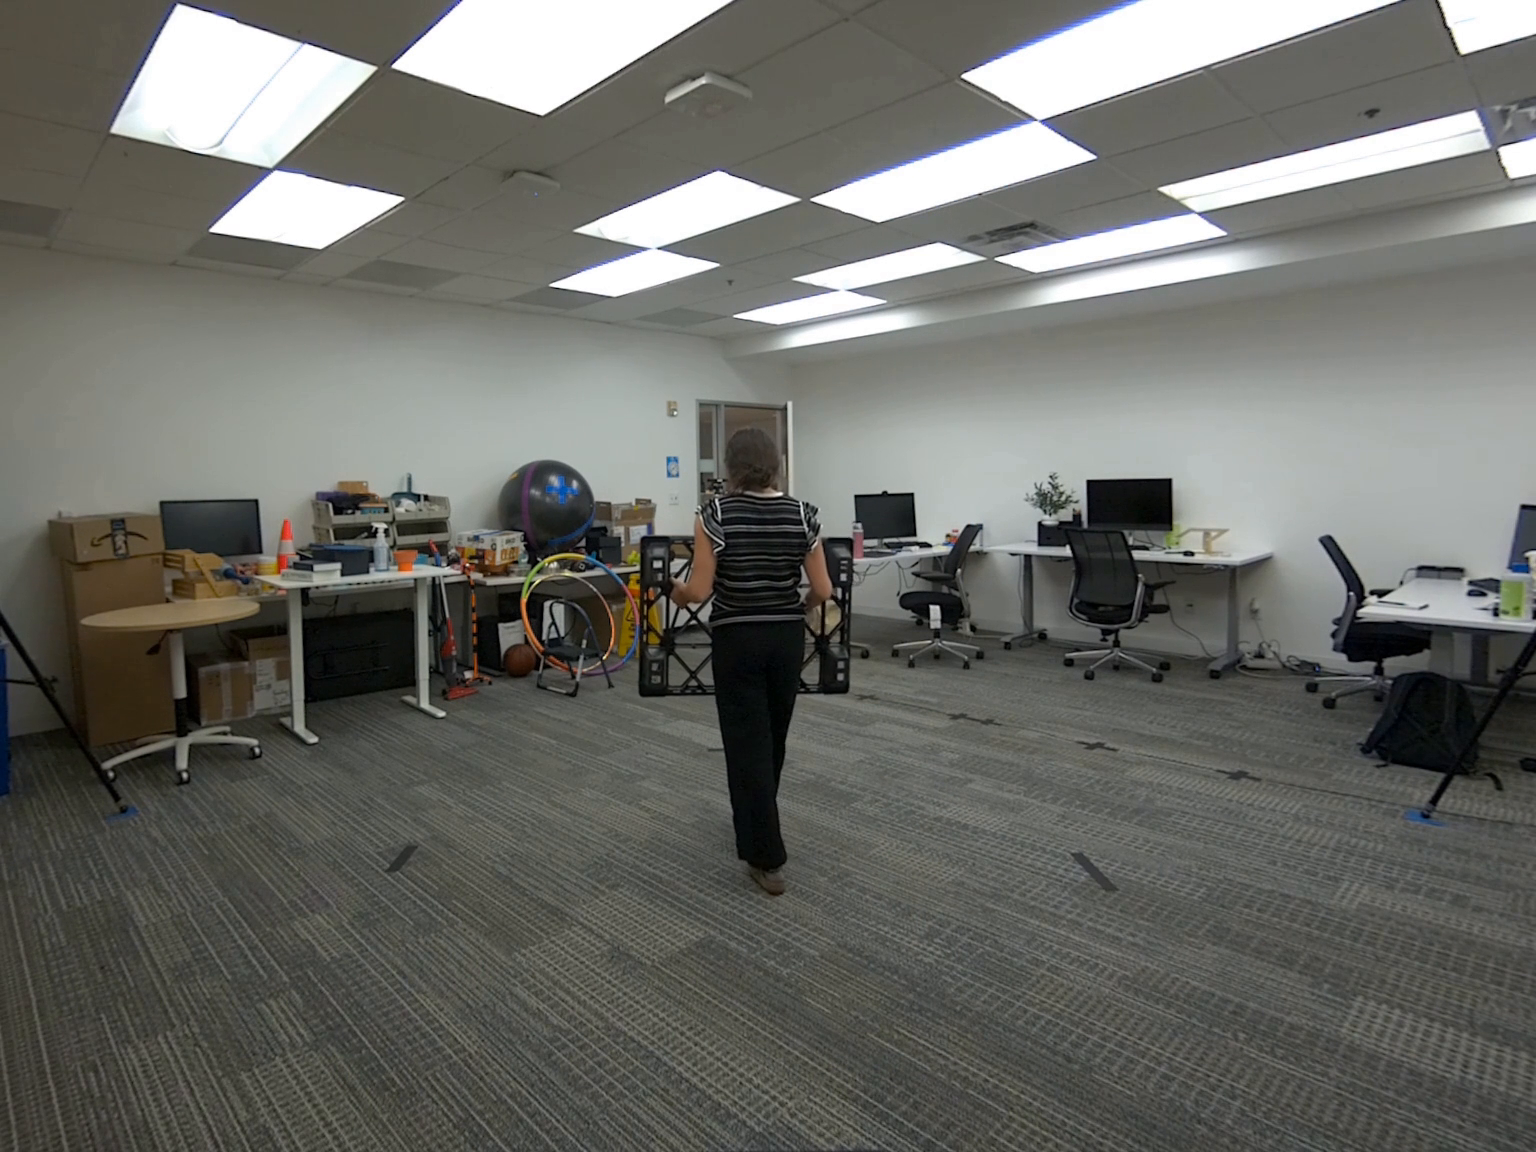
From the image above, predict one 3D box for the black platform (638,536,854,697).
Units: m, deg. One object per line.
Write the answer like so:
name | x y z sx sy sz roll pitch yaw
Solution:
black platform | -0.075 0.155 3.150 0.799 0.602 0.145 0 5 -8
